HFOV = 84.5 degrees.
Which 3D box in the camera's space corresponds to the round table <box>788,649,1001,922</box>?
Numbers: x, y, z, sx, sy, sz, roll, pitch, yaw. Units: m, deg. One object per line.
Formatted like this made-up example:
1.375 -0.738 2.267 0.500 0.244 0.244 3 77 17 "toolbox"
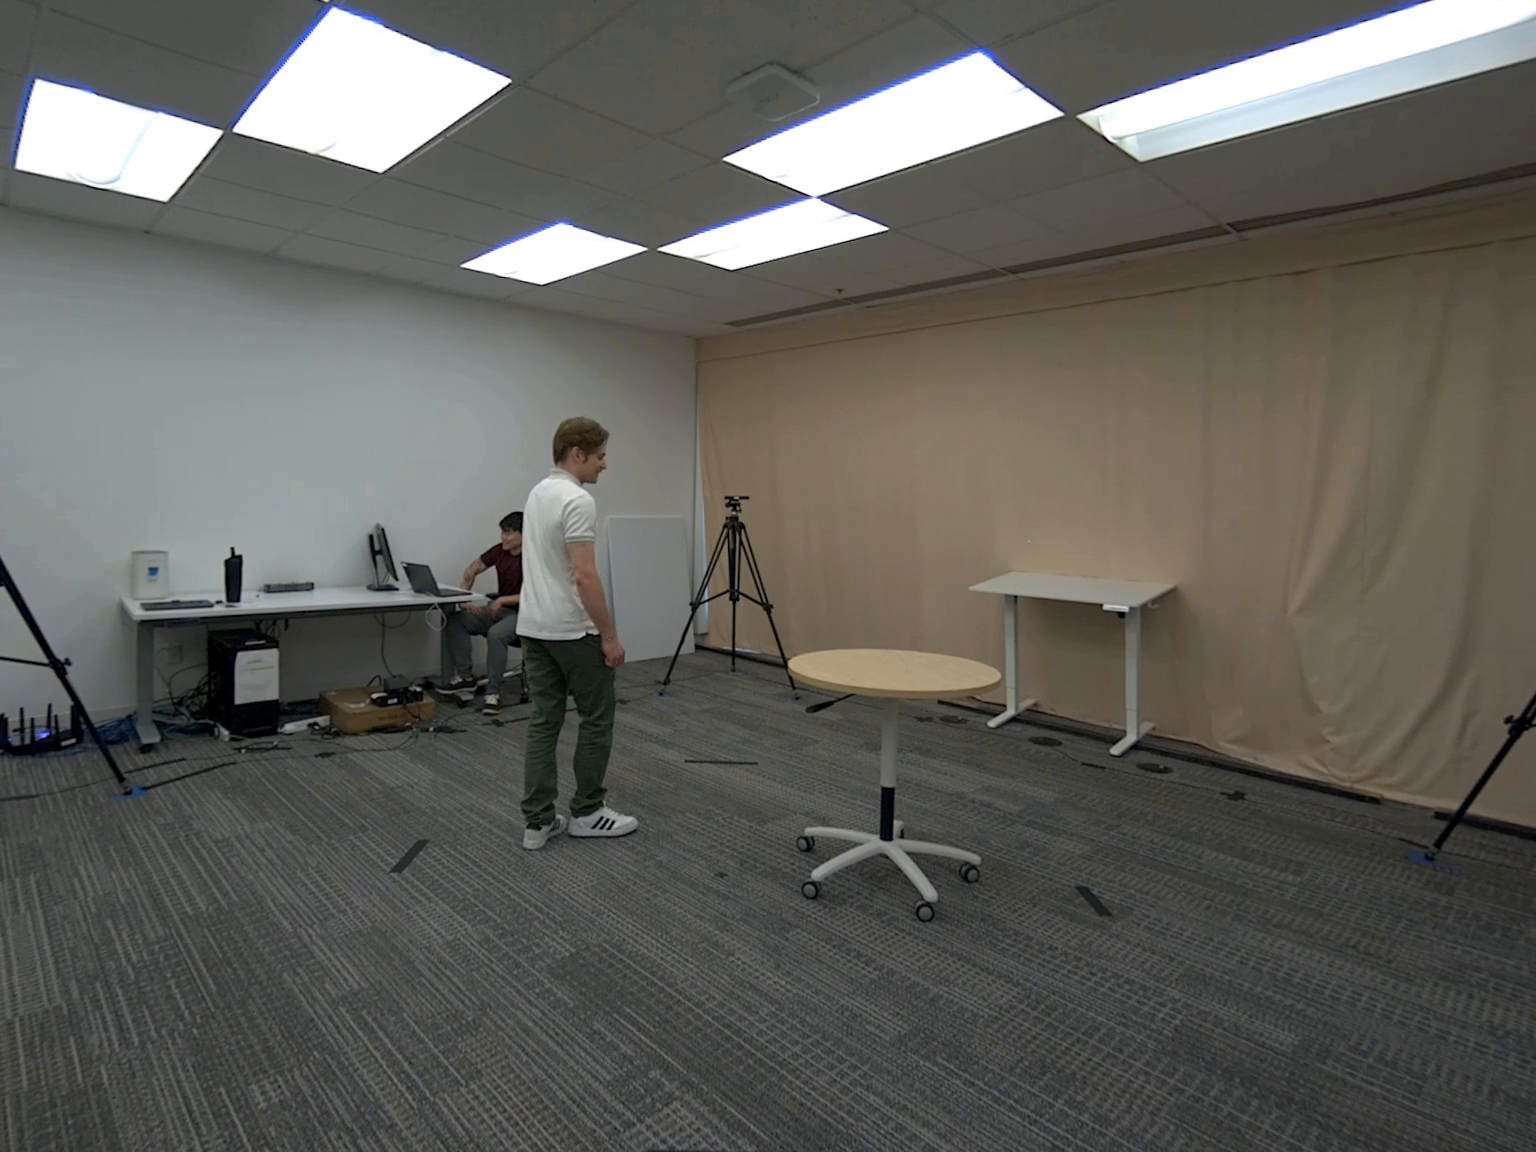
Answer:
0.436 0.729 3.104 0.763 0.792 0.766 1 4 -1 "round table"
